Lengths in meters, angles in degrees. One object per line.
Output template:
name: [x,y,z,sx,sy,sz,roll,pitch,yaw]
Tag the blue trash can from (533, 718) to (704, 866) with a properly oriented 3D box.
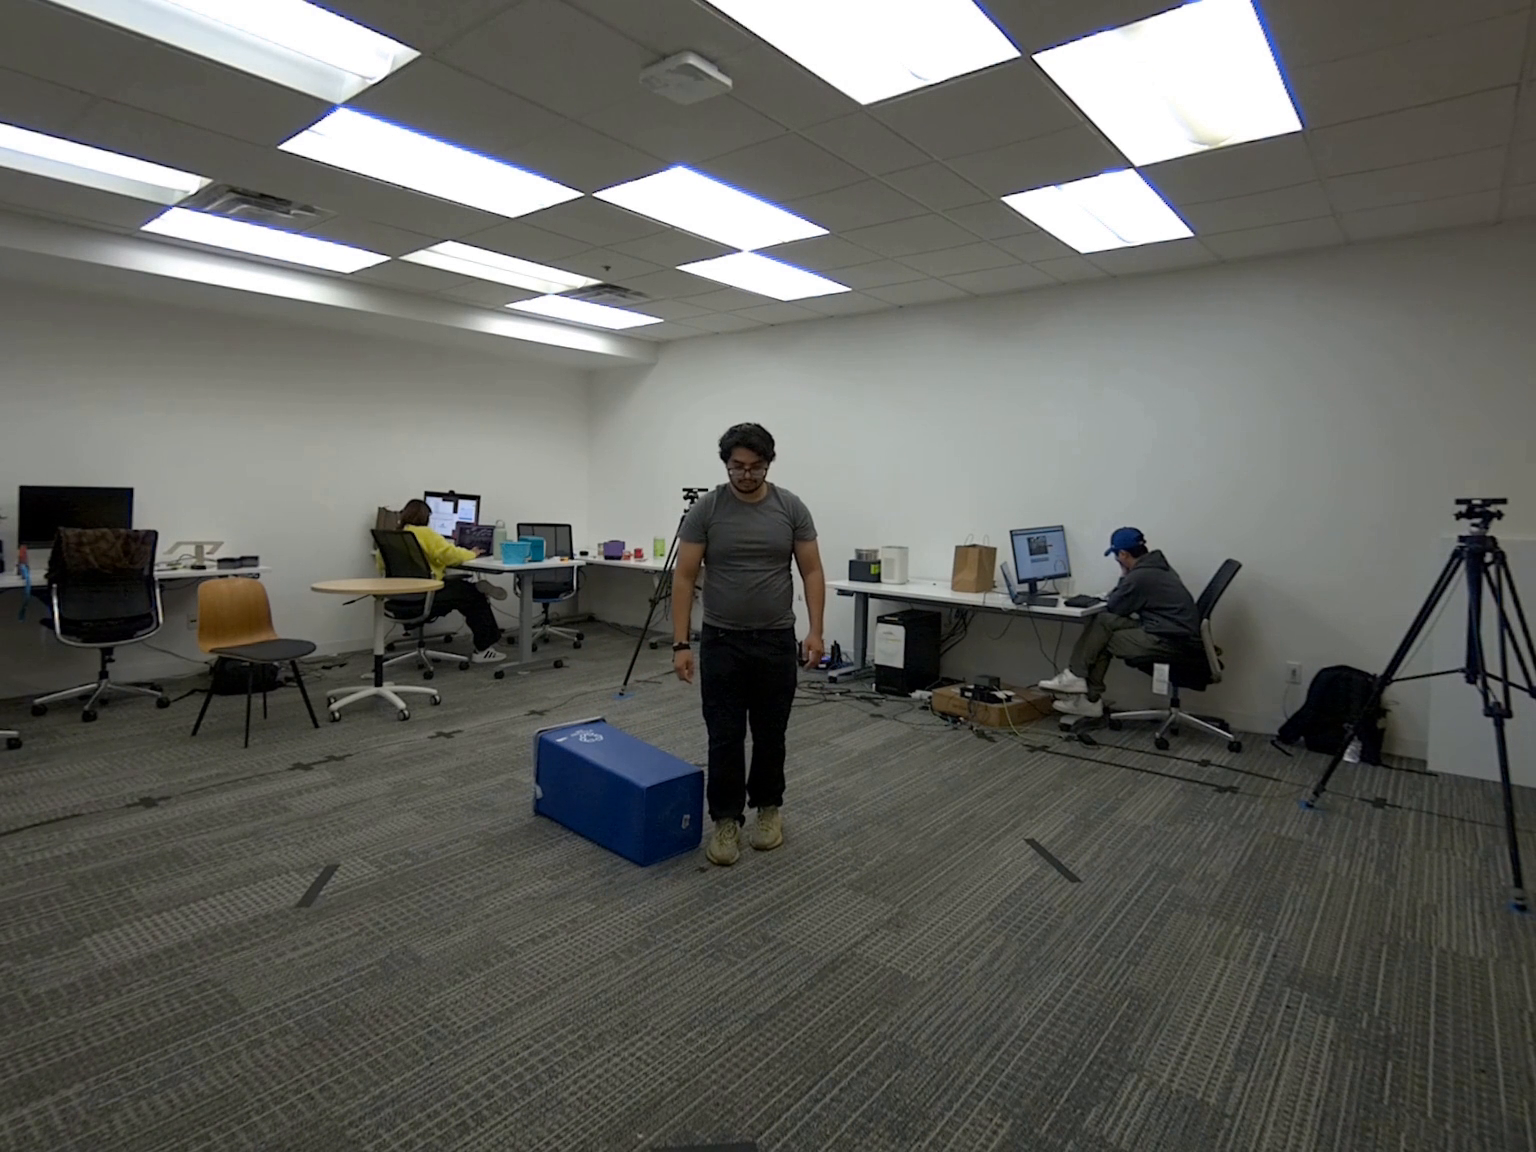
blue trash can: [-0.622,0.850,3.452,0.739,0.372,0.366,8,7,44]
